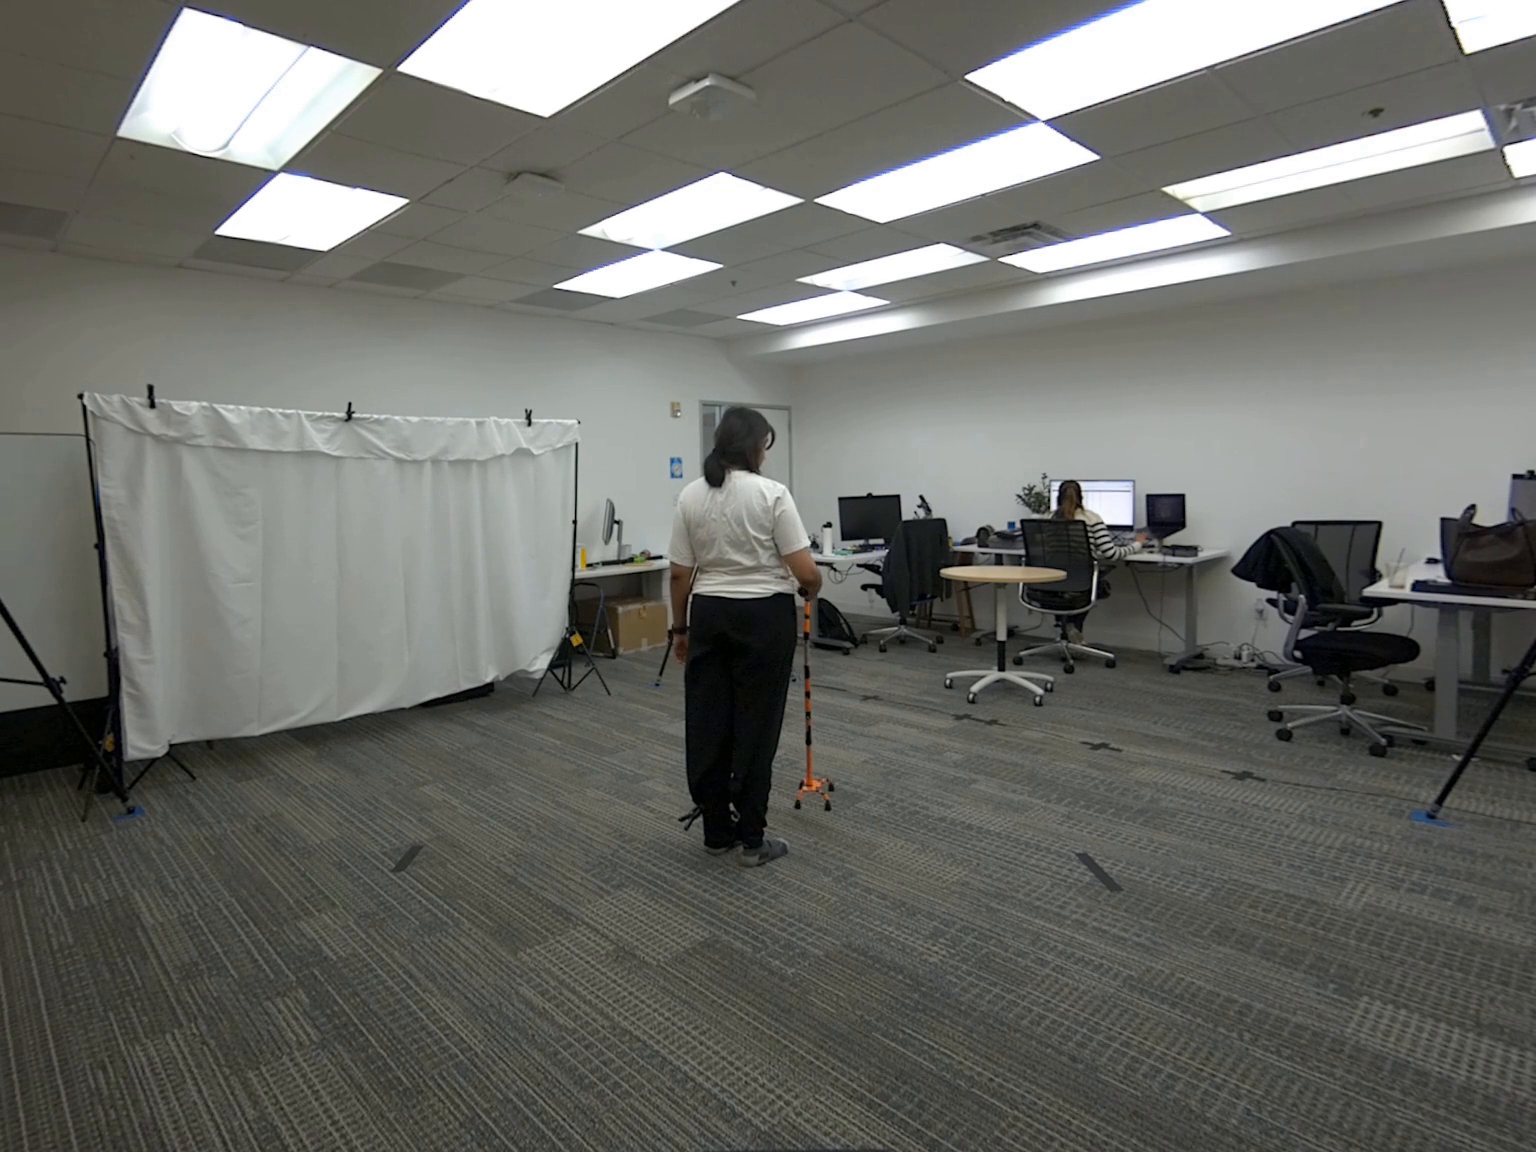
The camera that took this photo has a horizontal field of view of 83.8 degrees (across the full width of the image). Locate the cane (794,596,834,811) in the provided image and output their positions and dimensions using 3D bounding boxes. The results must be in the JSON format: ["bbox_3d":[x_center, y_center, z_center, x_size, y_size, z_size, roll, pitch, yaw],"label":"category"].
[{"bbox_3d":[0.181,0.485,3.470,0.153,0.901,0.206,0,8,10],"label":"cane"}]
